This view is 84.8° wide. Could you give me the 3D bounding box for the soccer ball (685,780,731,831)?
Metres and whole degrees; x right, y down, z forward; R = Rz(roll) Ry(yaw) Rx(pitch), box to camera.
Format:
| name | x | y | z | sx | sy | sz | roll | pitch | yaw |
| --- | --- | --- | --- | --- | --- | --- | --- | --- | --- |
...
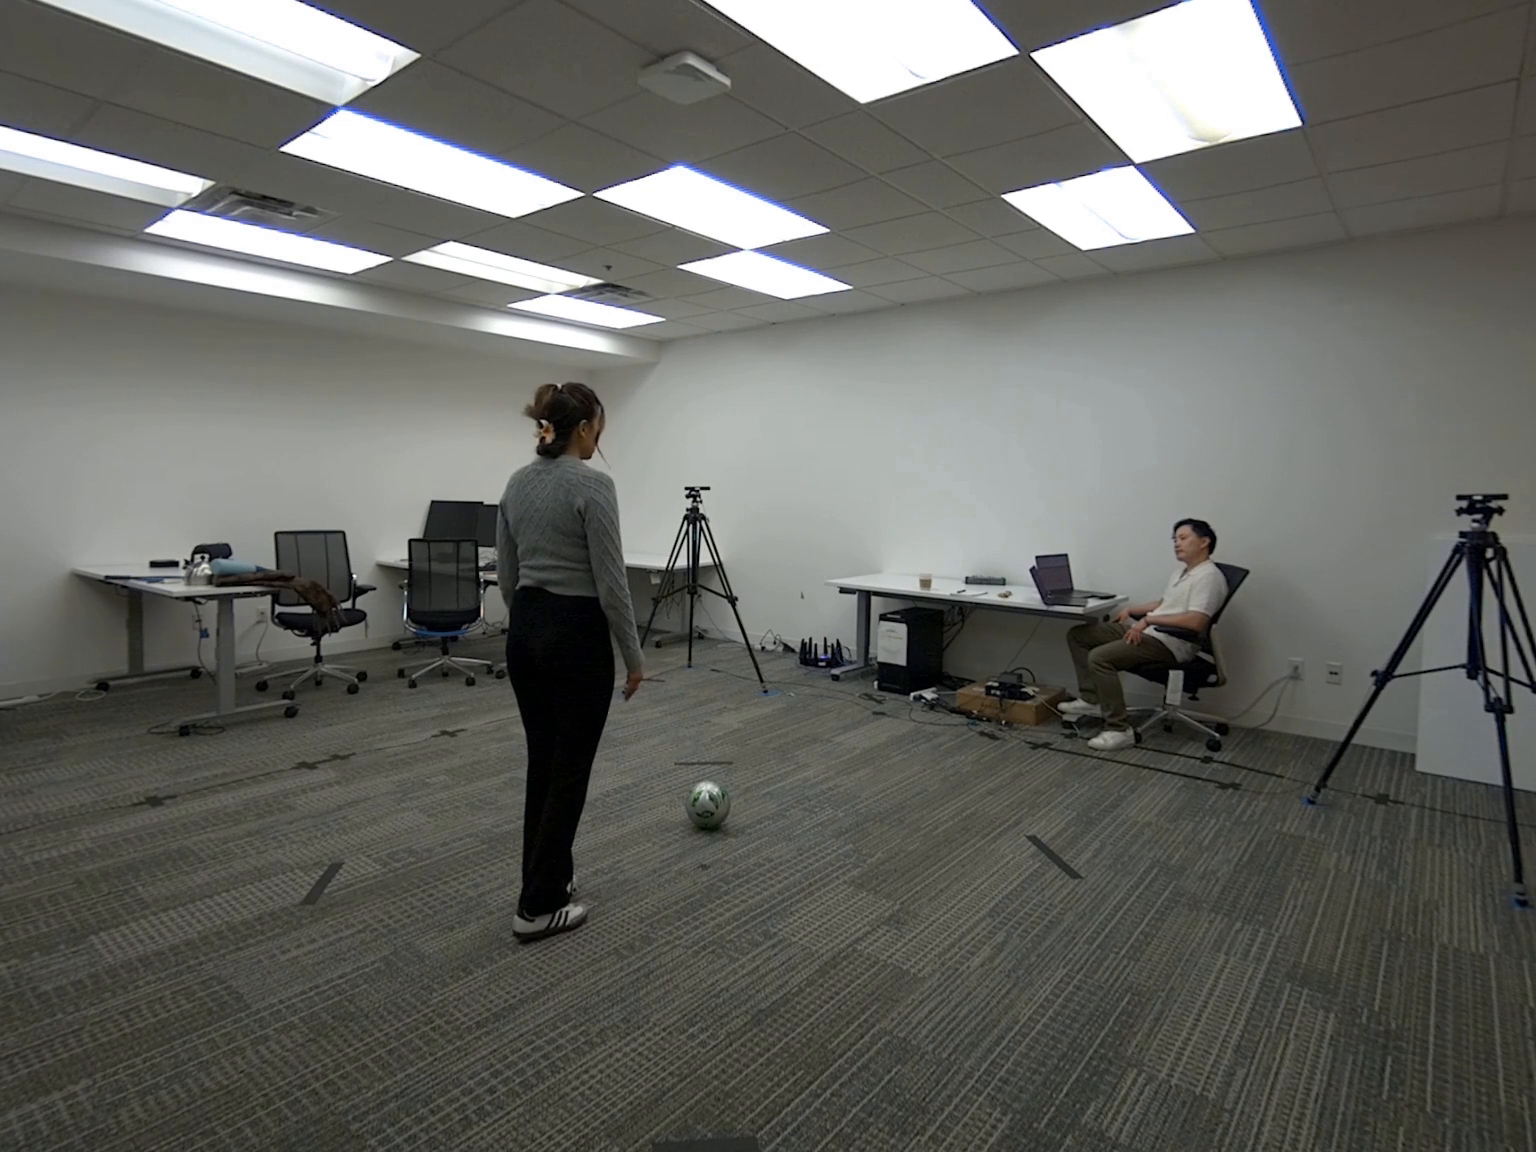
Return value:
| name | x | y | z | sx | sy | sz | roll | pitch | yaw |
| --- | --- | --- | --- | --- | --- | --- | --- | --- | --- |
| soccer ball | -0.256 | 0.933 | 3.489 | 0.187 | 0.187 | 0.188 | 1 | 4 | -2 |
